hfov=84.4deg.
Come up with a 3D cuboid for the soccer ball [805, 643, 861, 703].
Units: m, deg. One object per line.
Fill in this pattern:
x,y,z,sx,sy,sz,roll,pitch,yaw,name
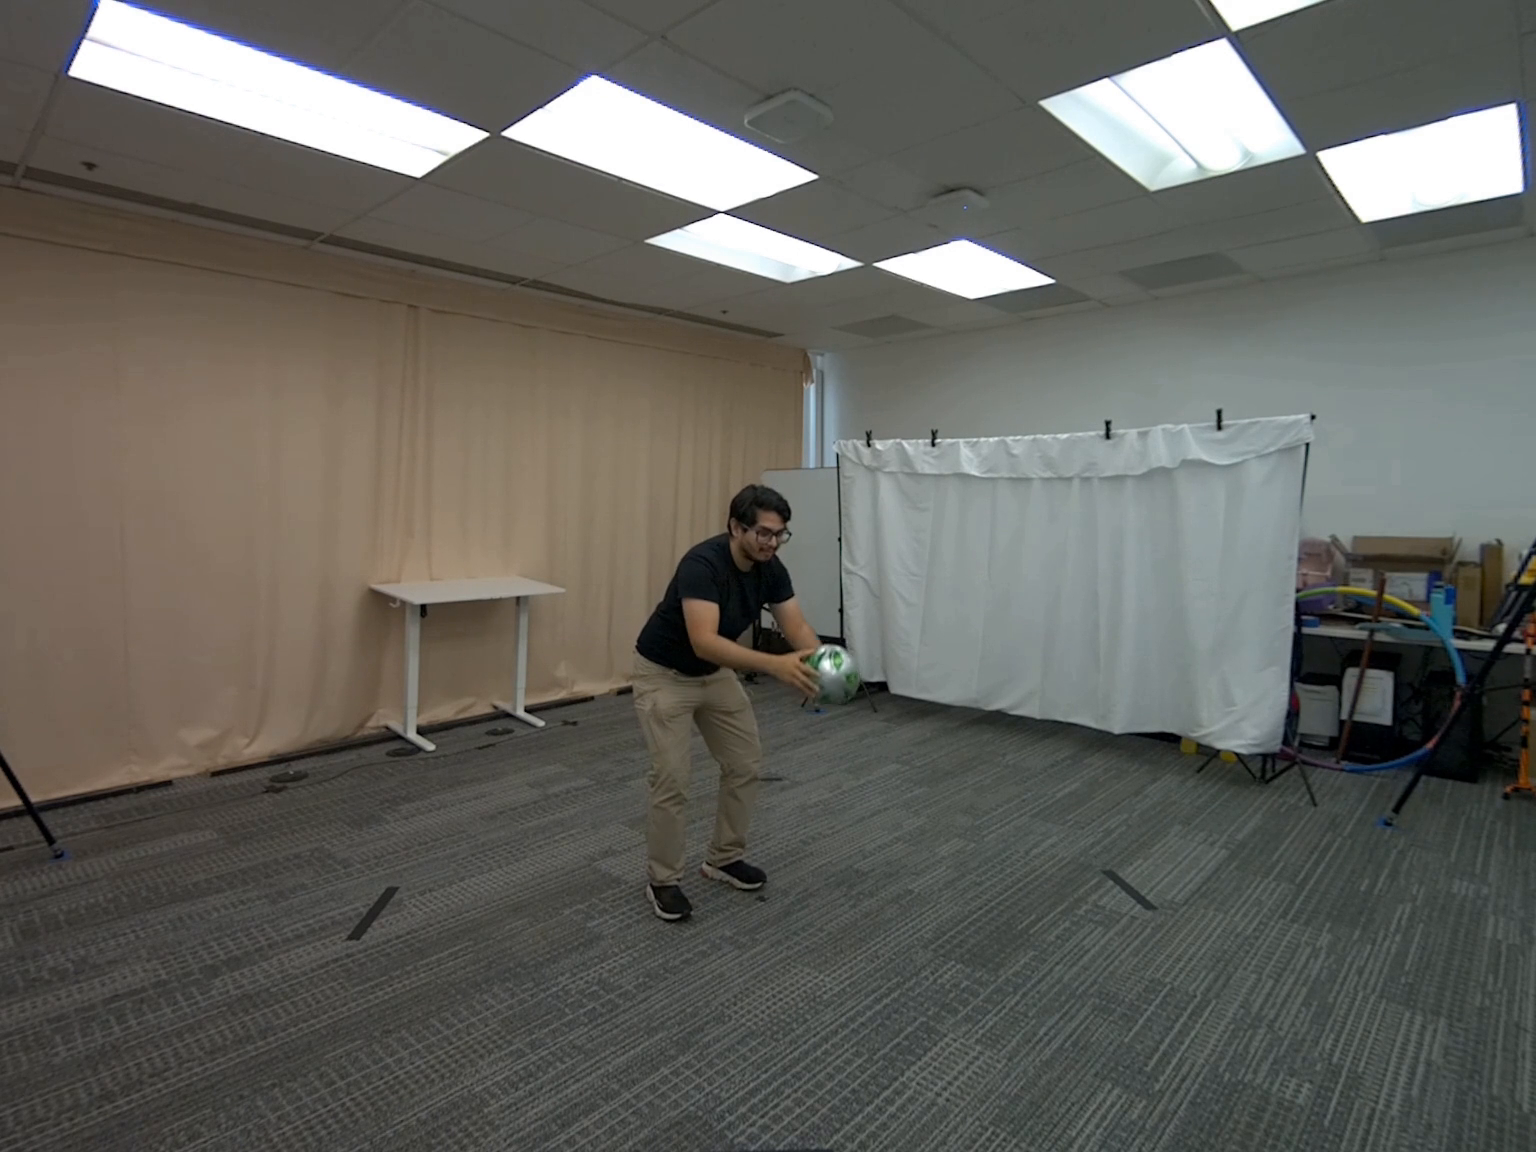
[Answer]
0.178,0.249,2.597,0.187,0.187,0.188,0,4,-2,soccer ball
